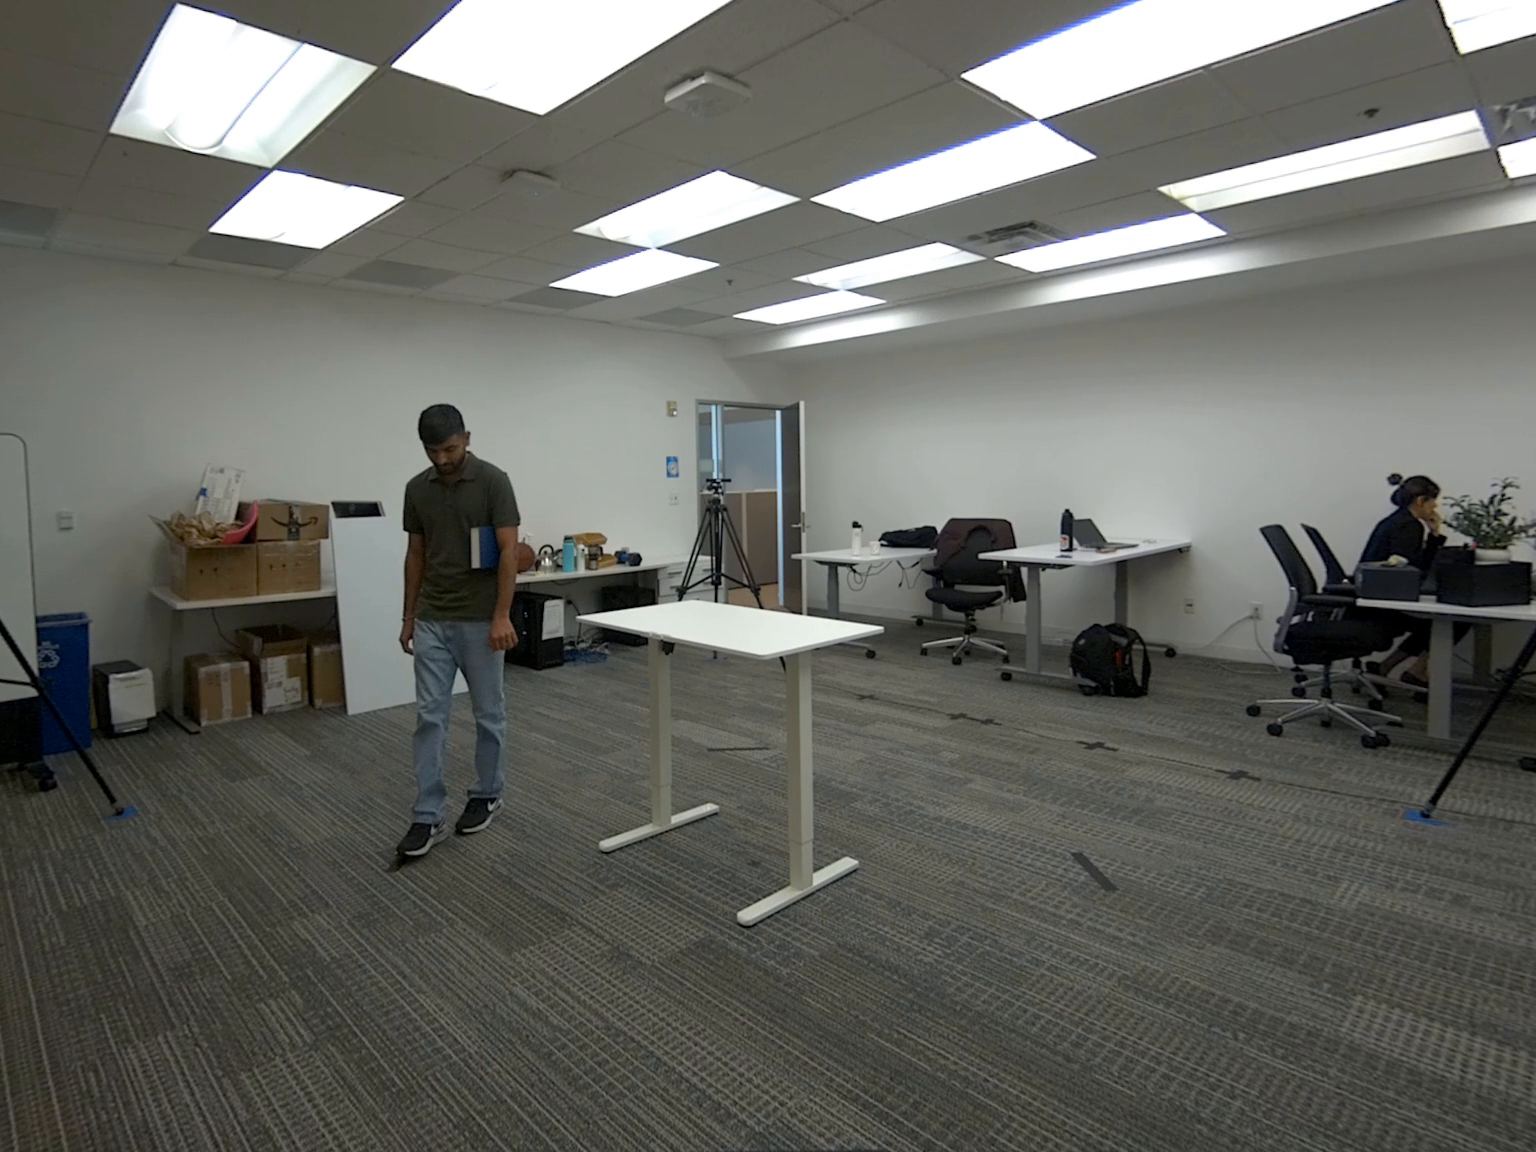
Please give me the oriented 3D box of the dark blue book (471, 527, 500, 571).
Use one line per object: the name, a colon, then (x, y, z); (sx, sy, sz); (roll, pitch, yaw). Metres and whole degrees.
dark blue book: (-1.119, -0.113, 3.394); (0.046, 0.163, 0.243); (3, 5, 11)
